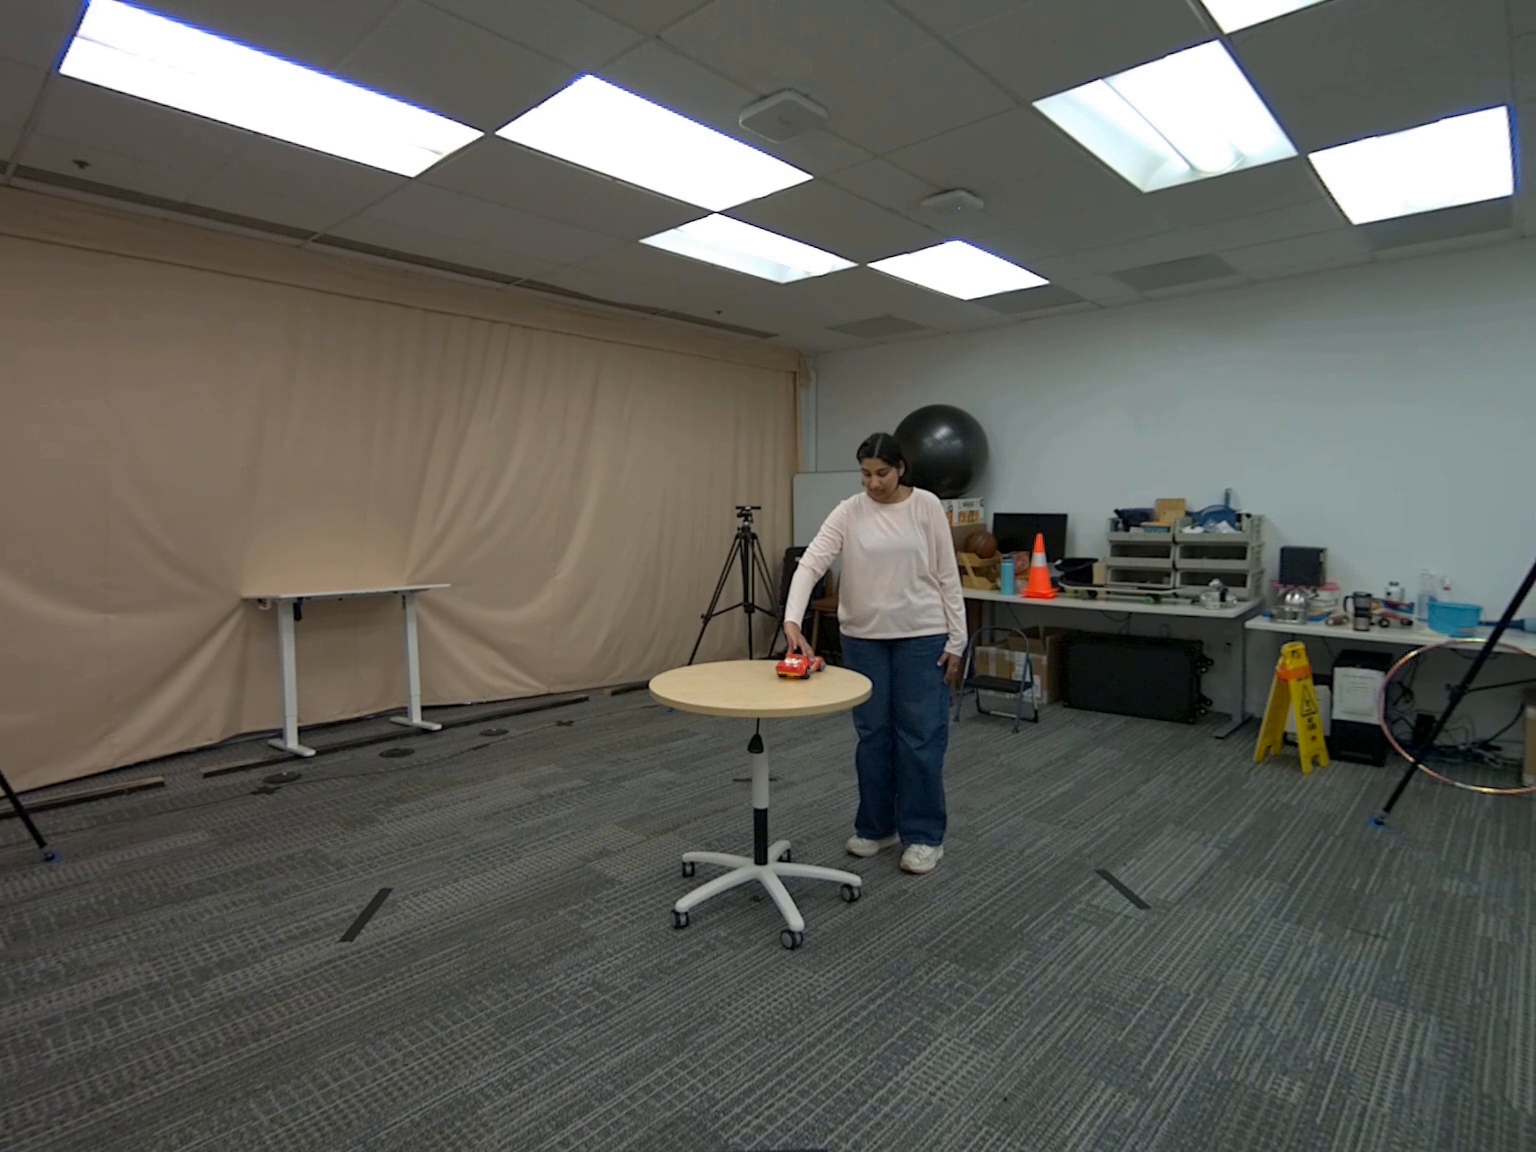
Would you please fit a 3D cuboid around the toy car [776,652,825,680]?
[{"bbox_3d":[0.110,0.327,3.009,0.134,0.083,0.247,3,-5,25],"label":"toy car"}]
